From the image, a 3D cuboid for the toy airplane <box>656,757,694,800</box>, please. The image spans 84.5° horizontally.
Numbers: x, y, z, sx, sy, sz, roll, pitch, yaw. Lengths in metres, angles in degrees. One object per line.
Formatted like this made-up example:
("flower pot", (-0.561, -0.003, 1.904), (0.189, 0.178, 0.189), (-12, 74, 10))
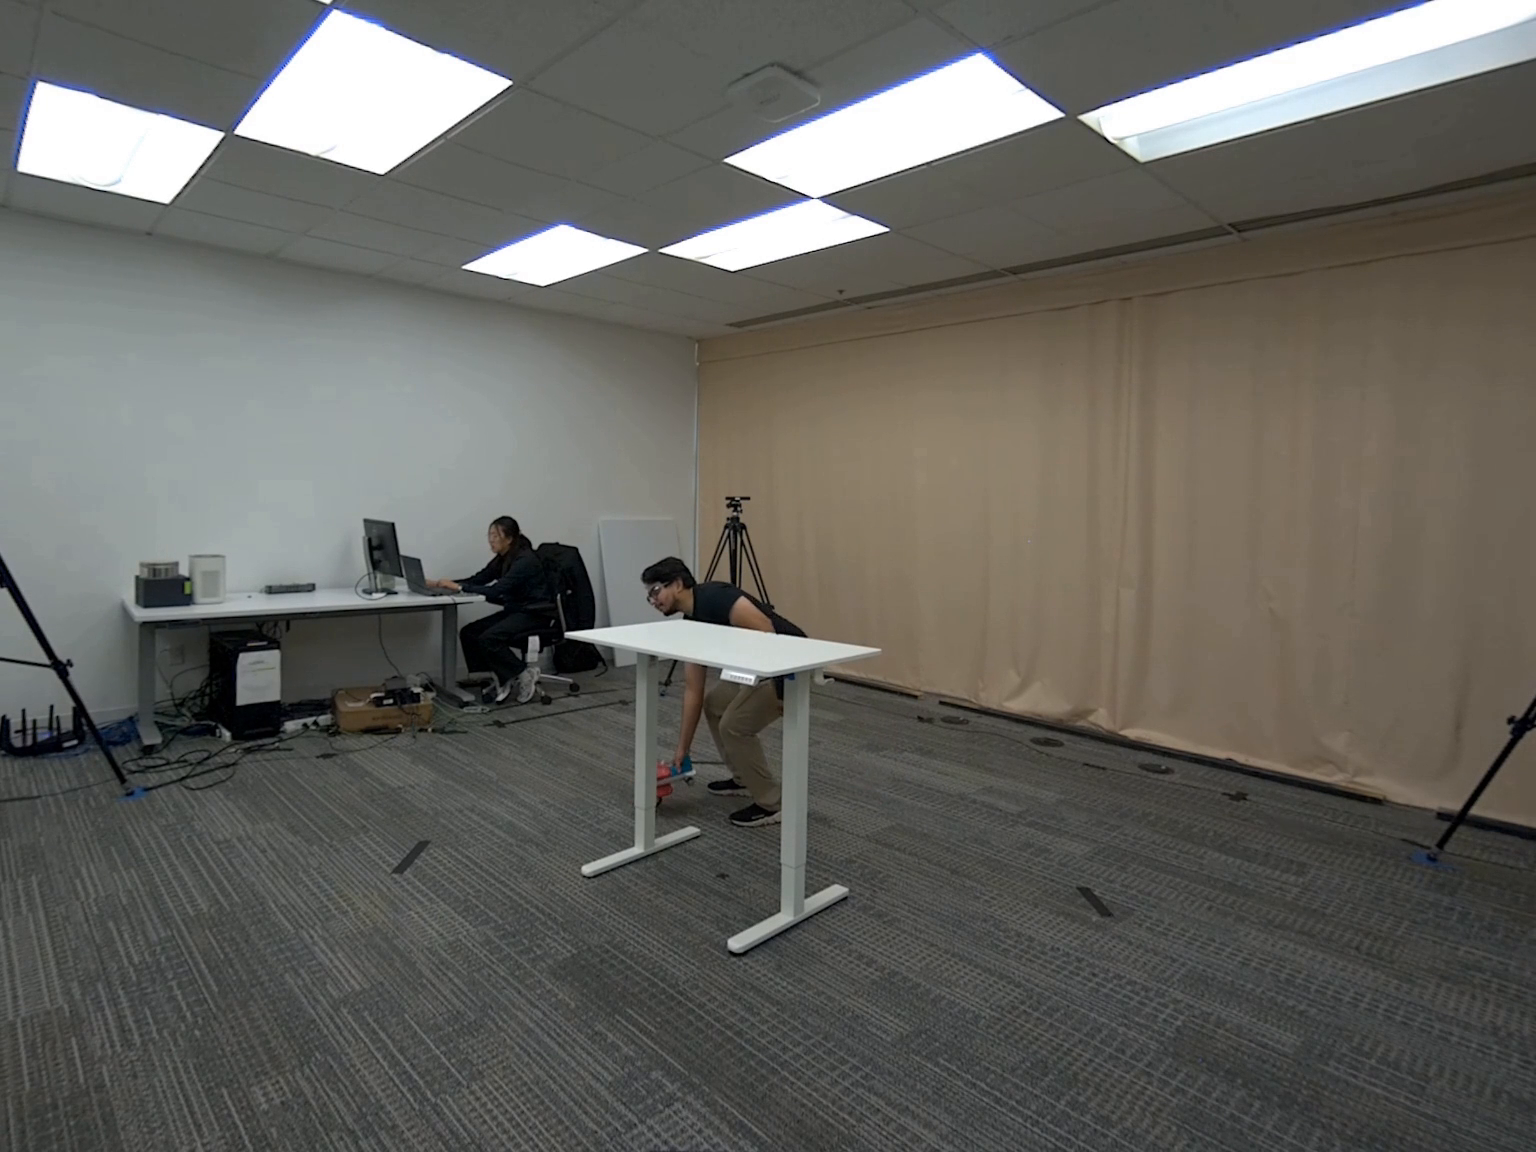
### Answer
("toy airplane", (-0.467, 0.900, 3.771), (0.256, 0.155, 0.257), (-12, 13, 41))
